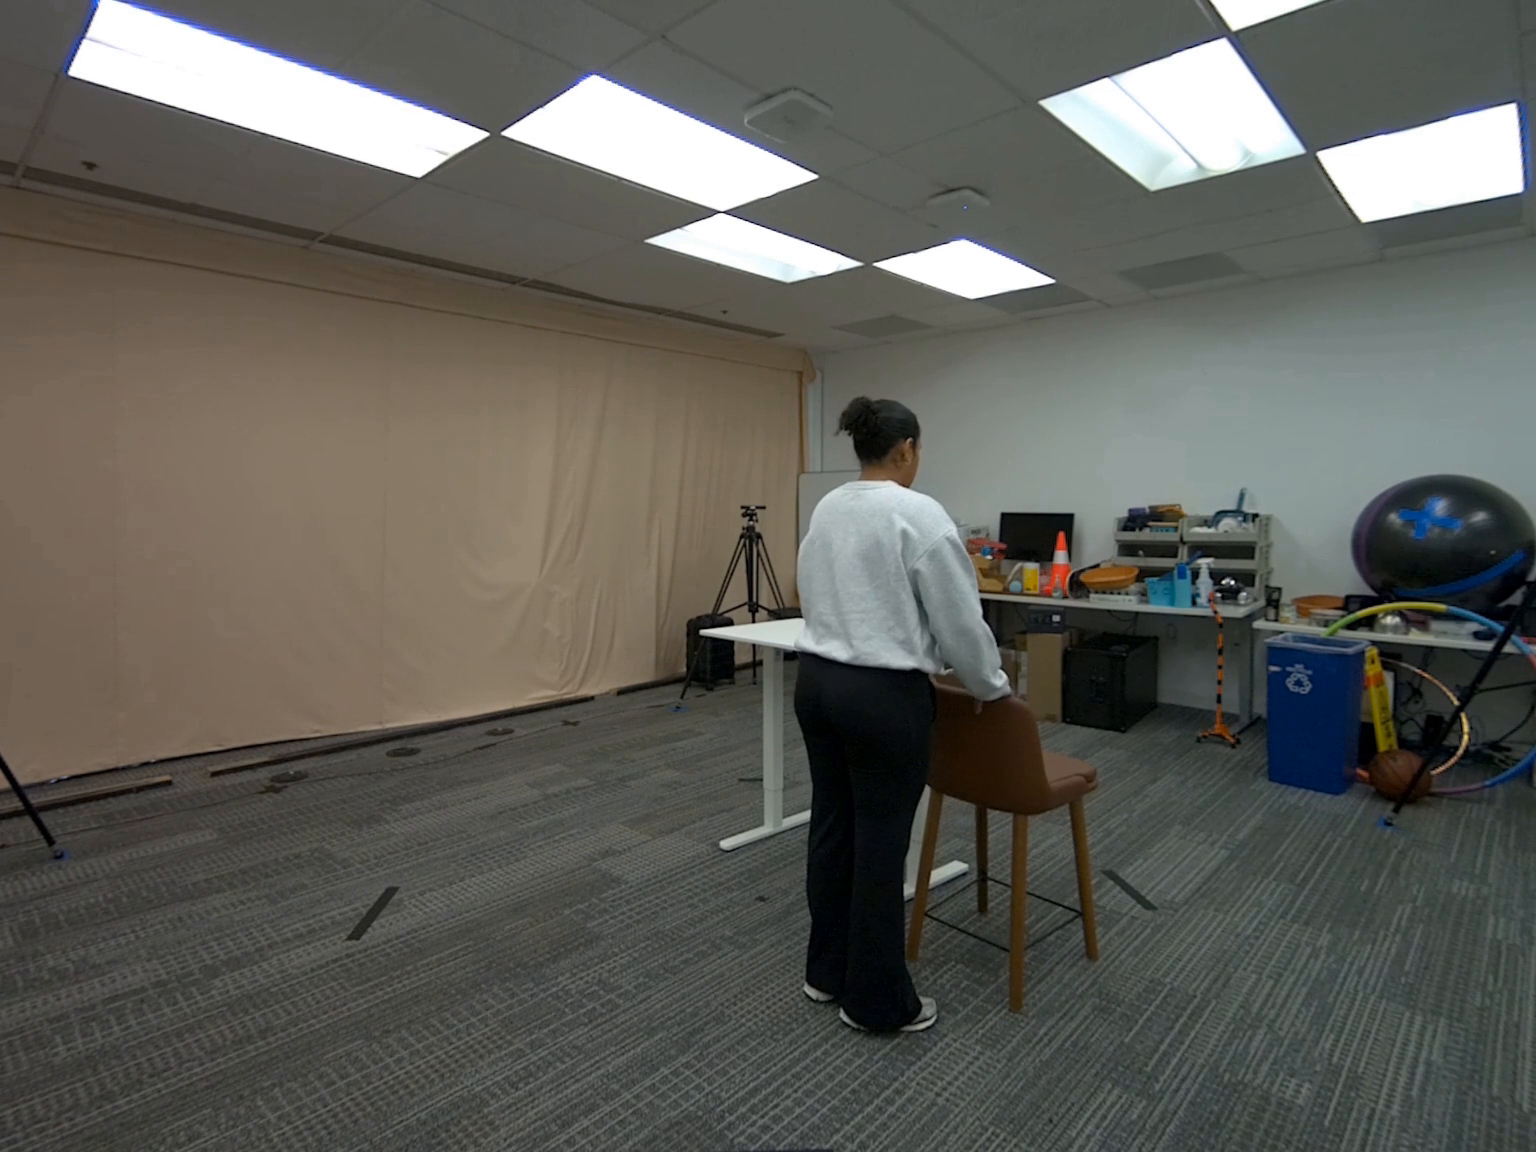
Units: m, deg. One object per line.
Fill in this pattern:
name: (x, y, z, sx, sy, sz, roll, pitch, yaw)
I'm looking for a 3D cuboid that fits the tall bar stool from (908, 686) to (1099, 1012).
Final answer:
tall bar stool: (0.711, 0.743, 2.557, 0.454, 0.886, 0.472, -6, 7, -43)
